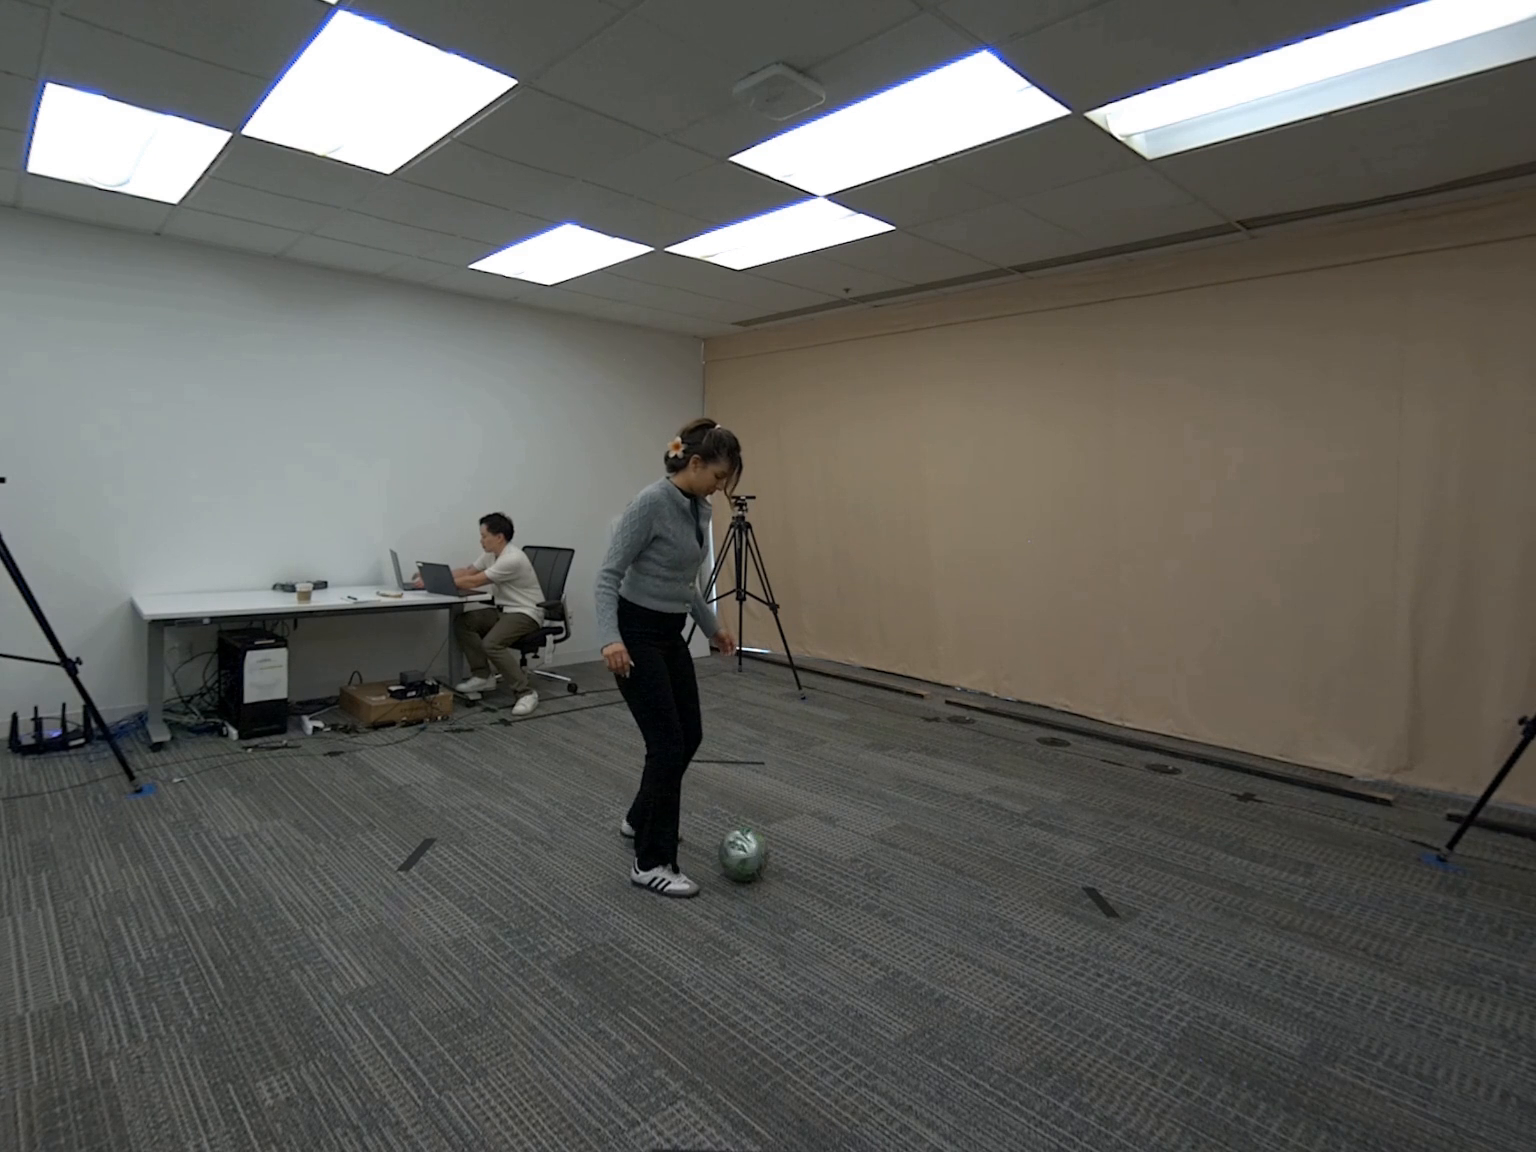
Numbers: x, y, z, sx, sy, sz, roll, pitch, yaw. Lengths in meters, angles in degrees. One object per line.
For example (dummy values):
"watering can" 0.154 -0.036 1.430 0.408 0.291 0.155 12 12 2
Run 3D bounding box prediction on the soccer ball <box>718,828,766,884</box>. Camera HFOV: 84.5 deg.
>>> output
"soccer ball" -0.094 1.016 3.062 0.187 0.187 0.188 1 4 -1
